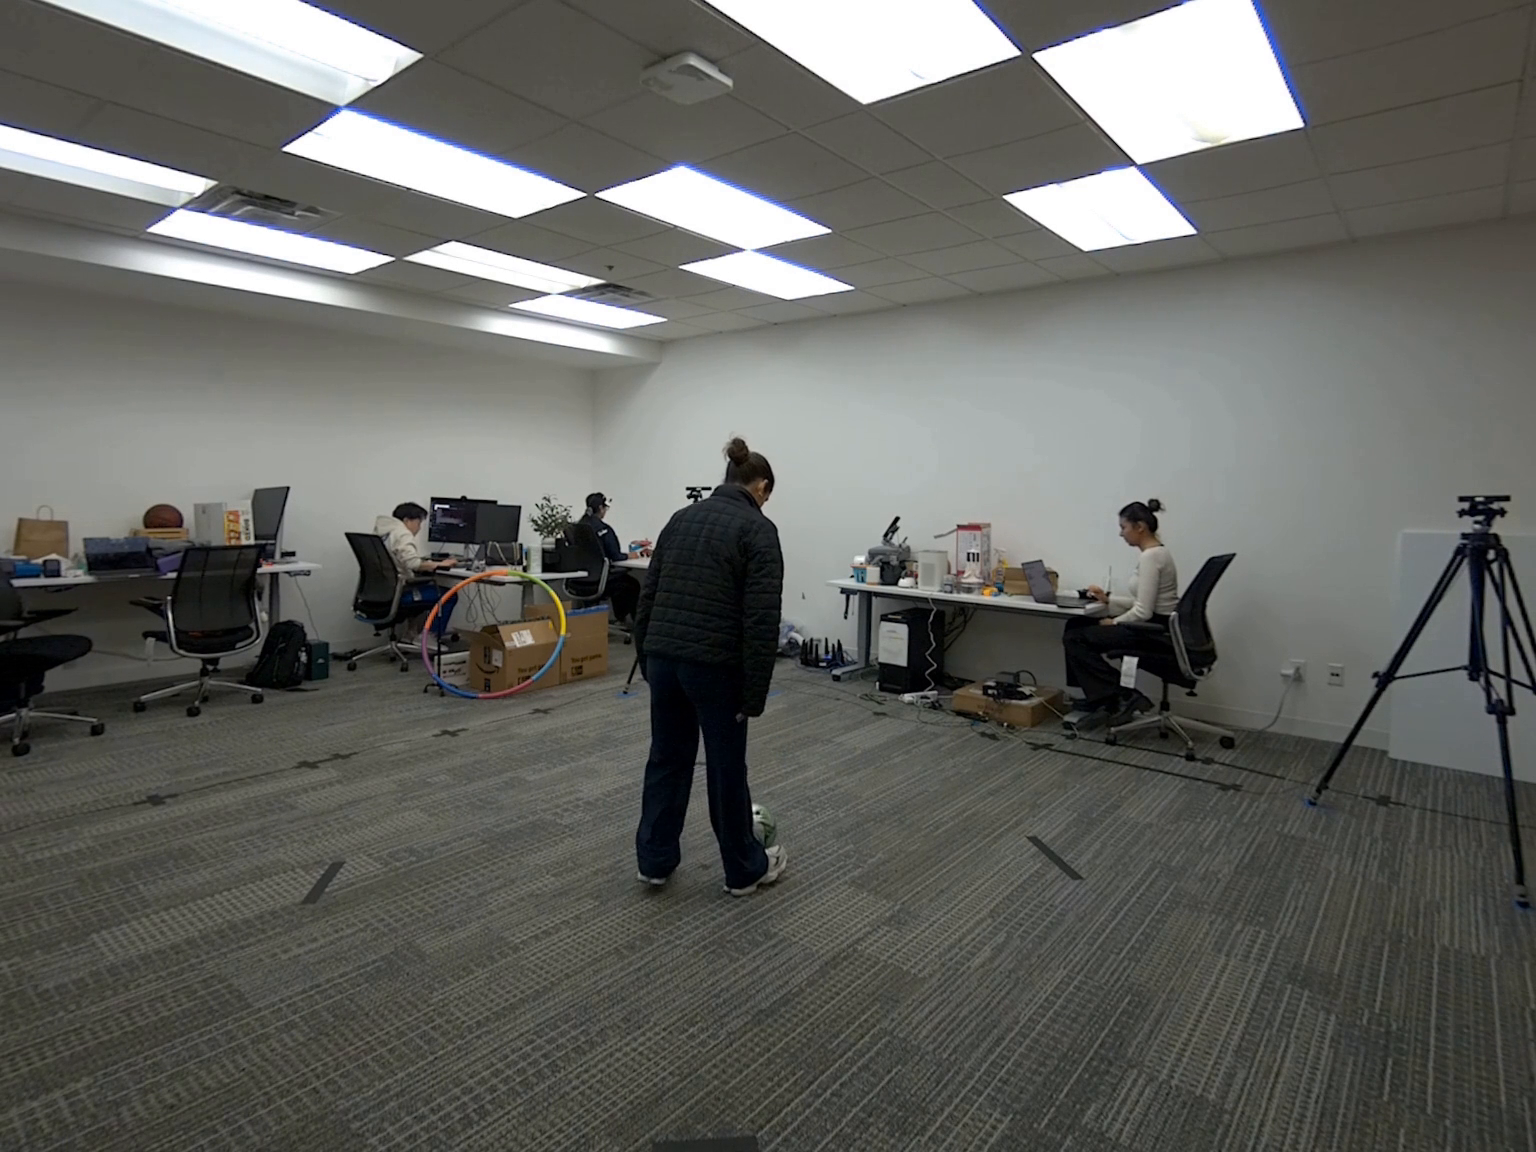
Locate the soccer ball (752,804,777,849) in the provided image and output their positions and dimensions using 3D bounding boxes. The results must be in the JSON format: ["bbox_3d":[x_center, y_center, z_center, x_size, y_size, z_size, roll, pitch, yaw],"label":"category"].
[{"bbox_3d":[-0.065,0.958,3.238,0.187,0.187,0.188,1,4,-2],"label":"soccer ball"}]
